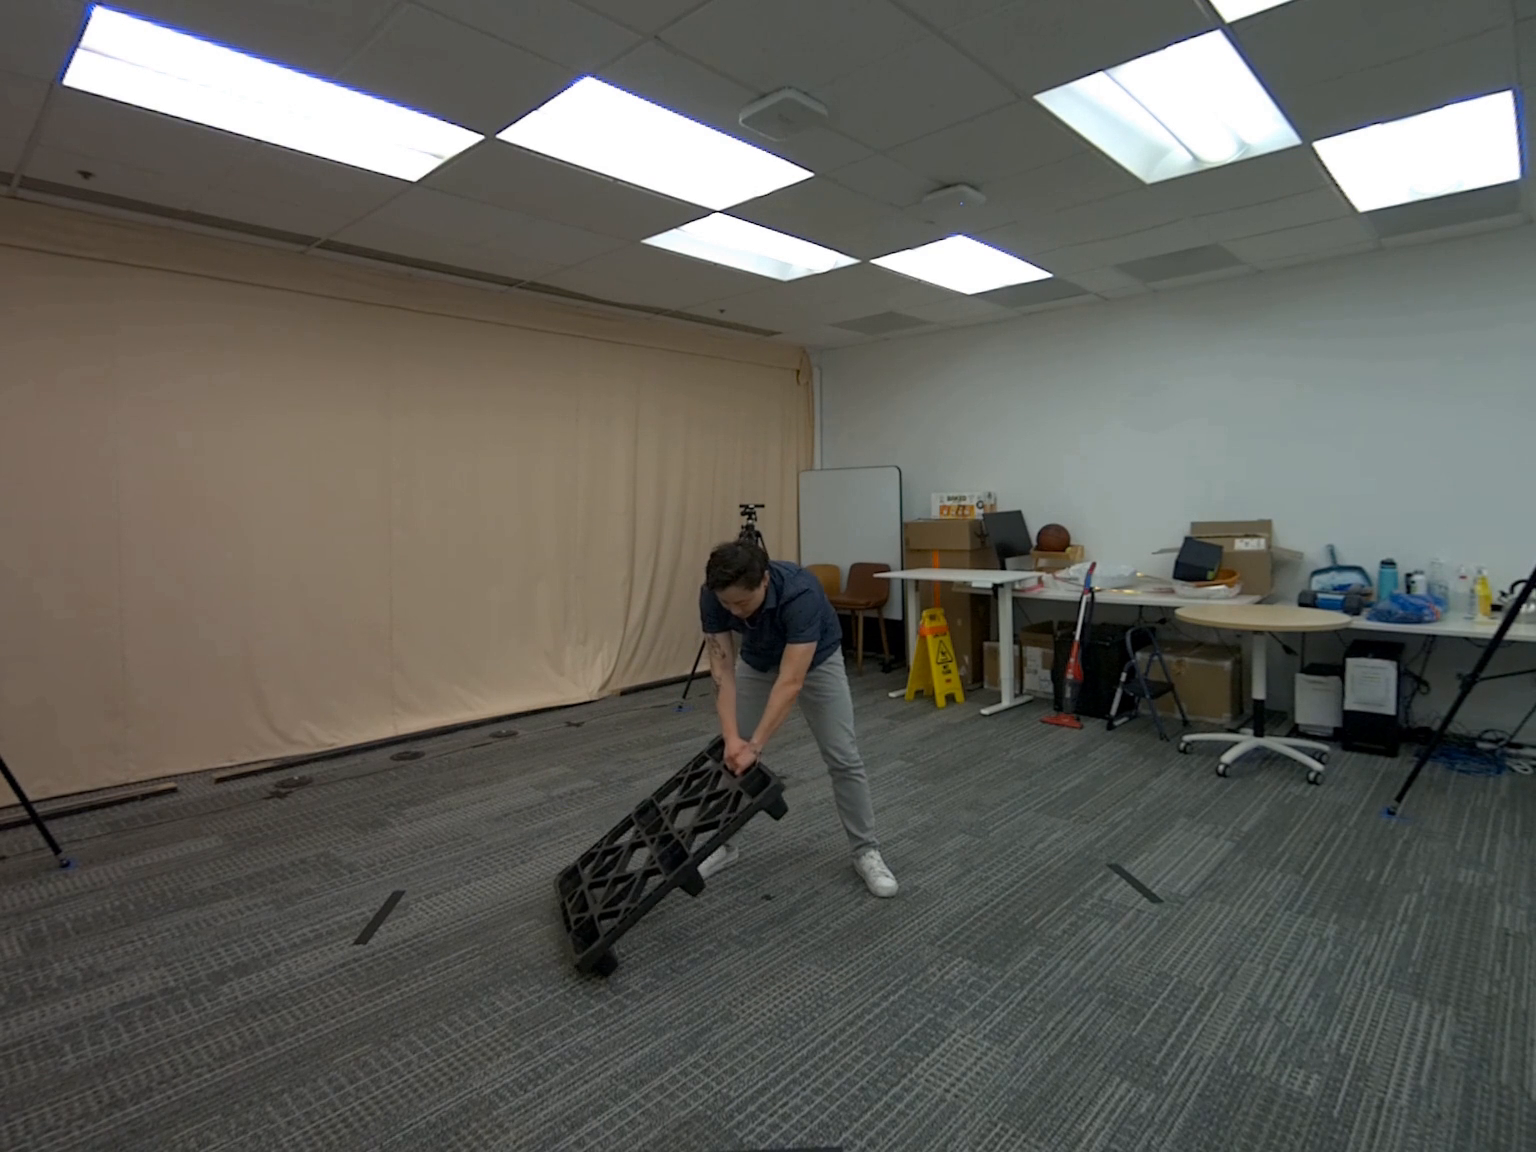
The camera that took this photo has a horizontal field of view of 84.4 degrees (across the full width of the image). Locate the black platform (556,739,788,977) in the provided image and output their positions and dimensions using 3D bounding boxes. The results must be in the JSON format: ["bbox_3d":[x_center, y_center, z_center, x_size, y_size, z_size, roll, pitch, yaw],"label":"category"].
[{"bbox_3d":[-0.320,0.897,2.767,0.802,0.141,0.618,-40,16,-11],"label":"black platform"}]
